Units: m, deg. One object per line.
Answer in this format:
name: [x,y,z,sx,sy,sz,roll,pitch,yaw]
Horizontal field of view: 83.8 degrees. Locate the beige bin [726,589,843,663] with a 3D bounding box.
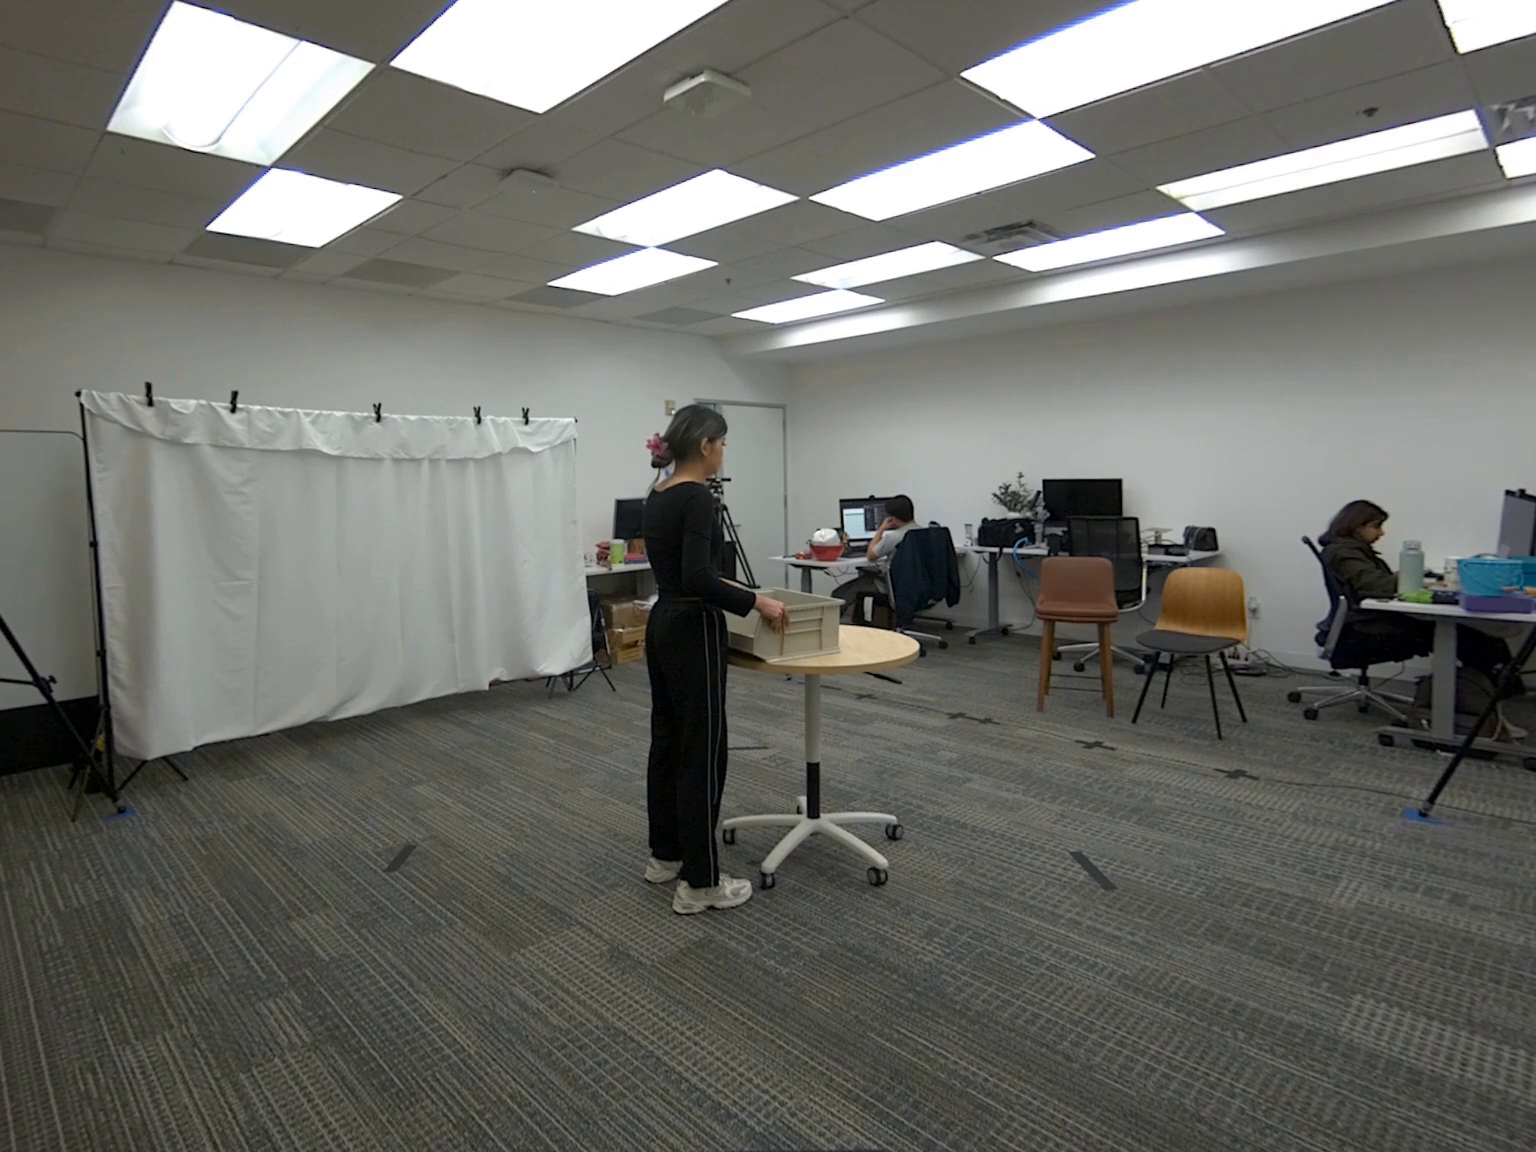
beige bin: [-0.007,0.161,3.016,0.368,0.188,0.434,-1,5,-33]
